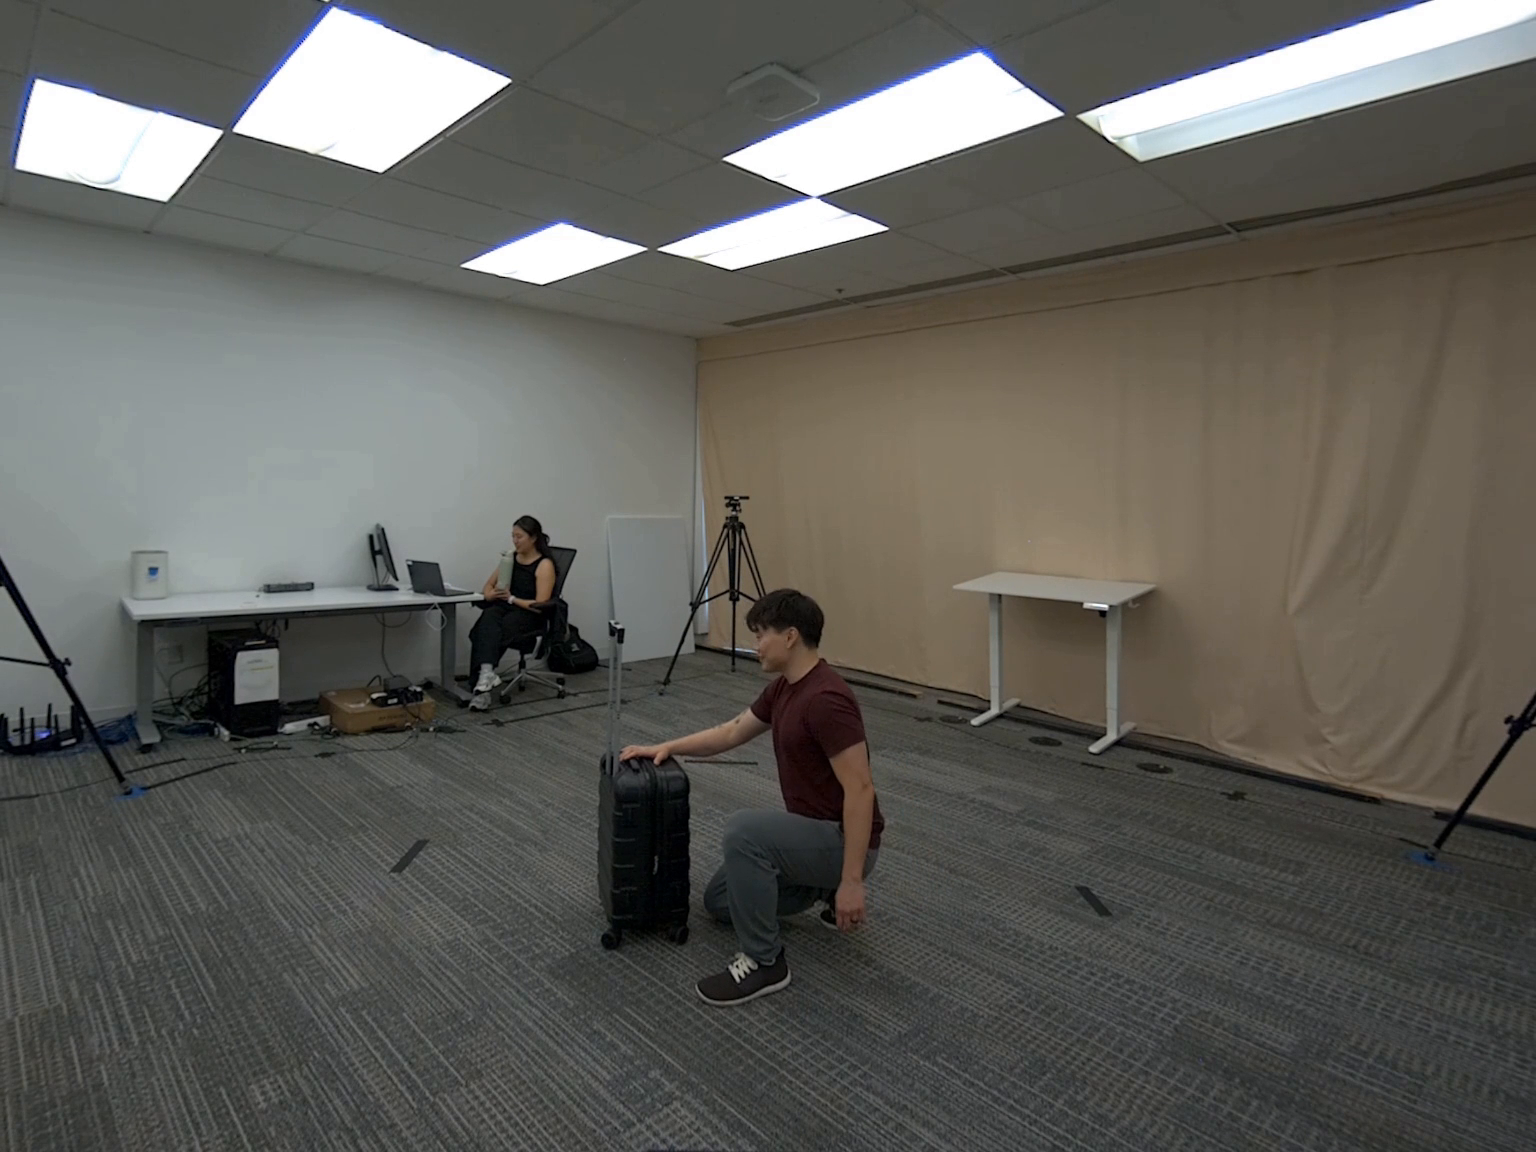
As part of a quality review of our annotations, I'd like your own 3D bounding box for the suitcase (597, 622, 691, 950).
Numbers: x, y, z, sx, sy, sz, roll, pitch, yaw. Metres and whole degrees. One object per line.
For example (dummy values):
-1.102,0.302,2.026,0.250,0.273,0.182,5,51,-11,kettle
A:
-0.405,0.649,2.732,0.254,0.976,0.390,1,4,-16,suitcase
